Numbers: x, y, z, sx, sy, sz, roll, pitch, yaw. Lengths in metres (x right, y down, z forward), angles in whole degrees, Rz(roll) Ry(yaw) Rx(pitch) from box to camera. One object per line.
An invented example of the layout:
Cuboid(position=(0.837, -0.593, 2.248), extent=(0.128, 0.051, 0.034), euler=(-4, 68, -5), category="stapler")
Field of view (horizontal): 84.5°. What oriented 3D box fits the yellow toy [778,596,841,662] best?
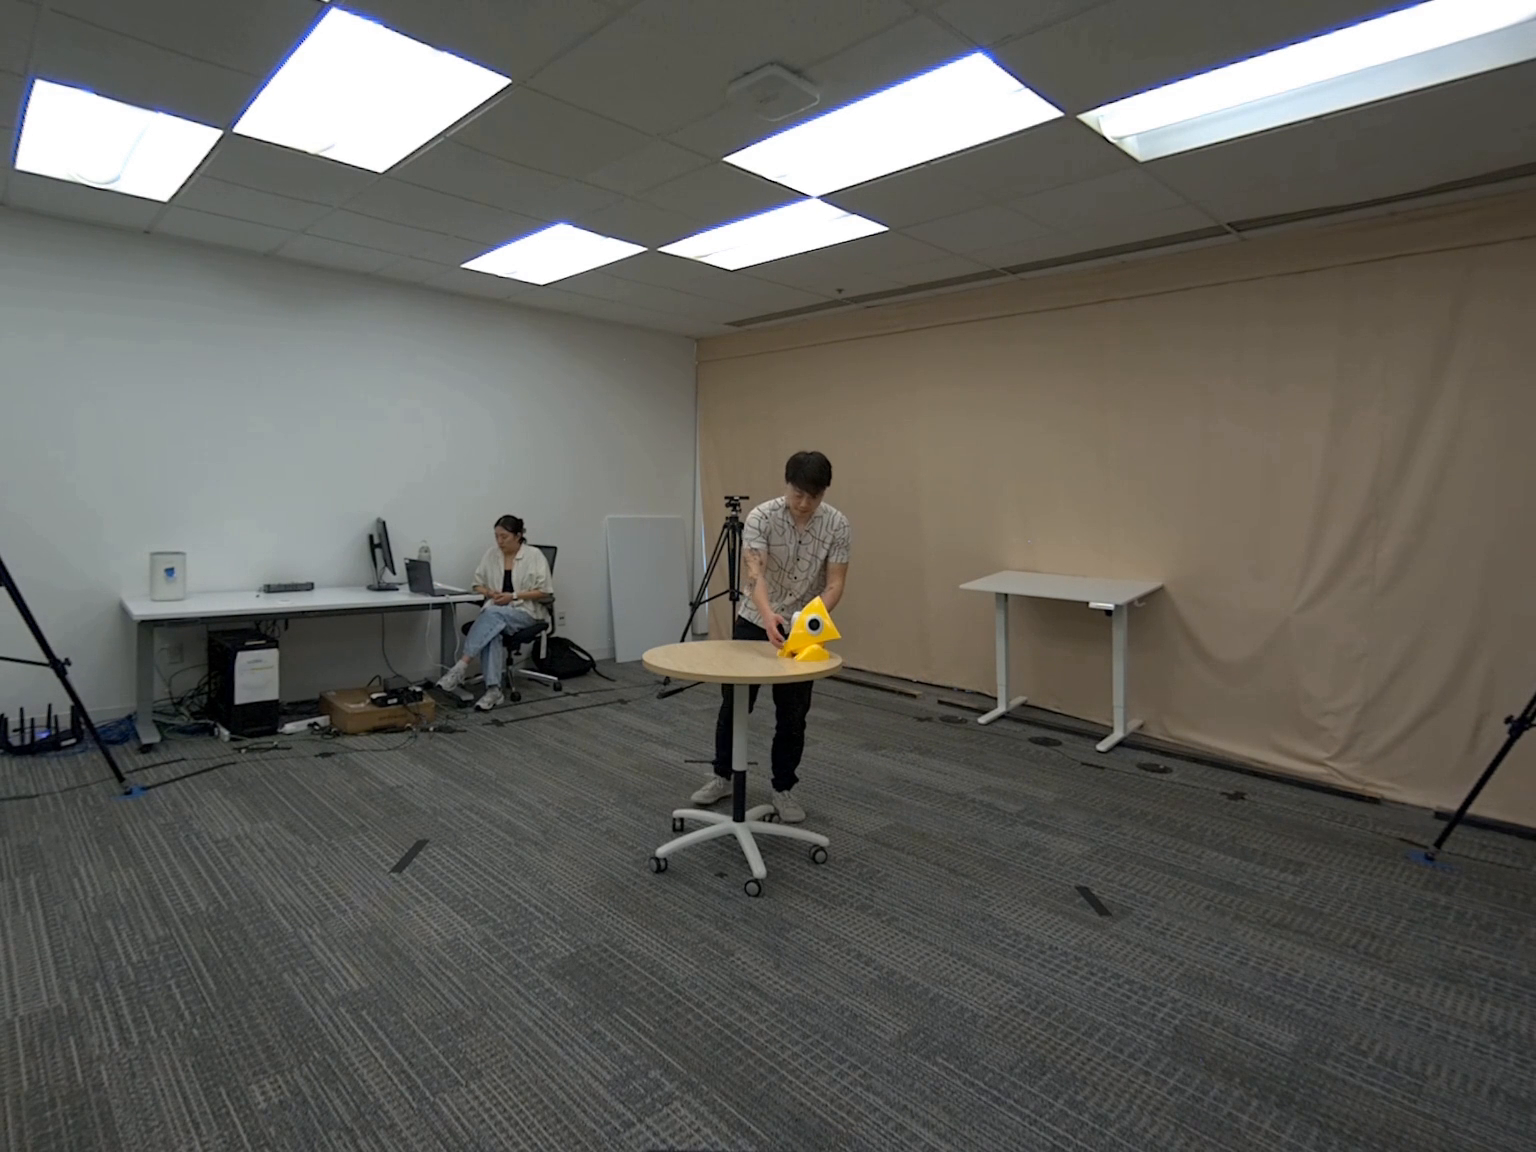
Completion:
Cuboid(position=(0.140, 0.197, 3.257), extent=(0.189, 0.230, 0.210), euler=(-3, 5, -36), category="yellow toy")
